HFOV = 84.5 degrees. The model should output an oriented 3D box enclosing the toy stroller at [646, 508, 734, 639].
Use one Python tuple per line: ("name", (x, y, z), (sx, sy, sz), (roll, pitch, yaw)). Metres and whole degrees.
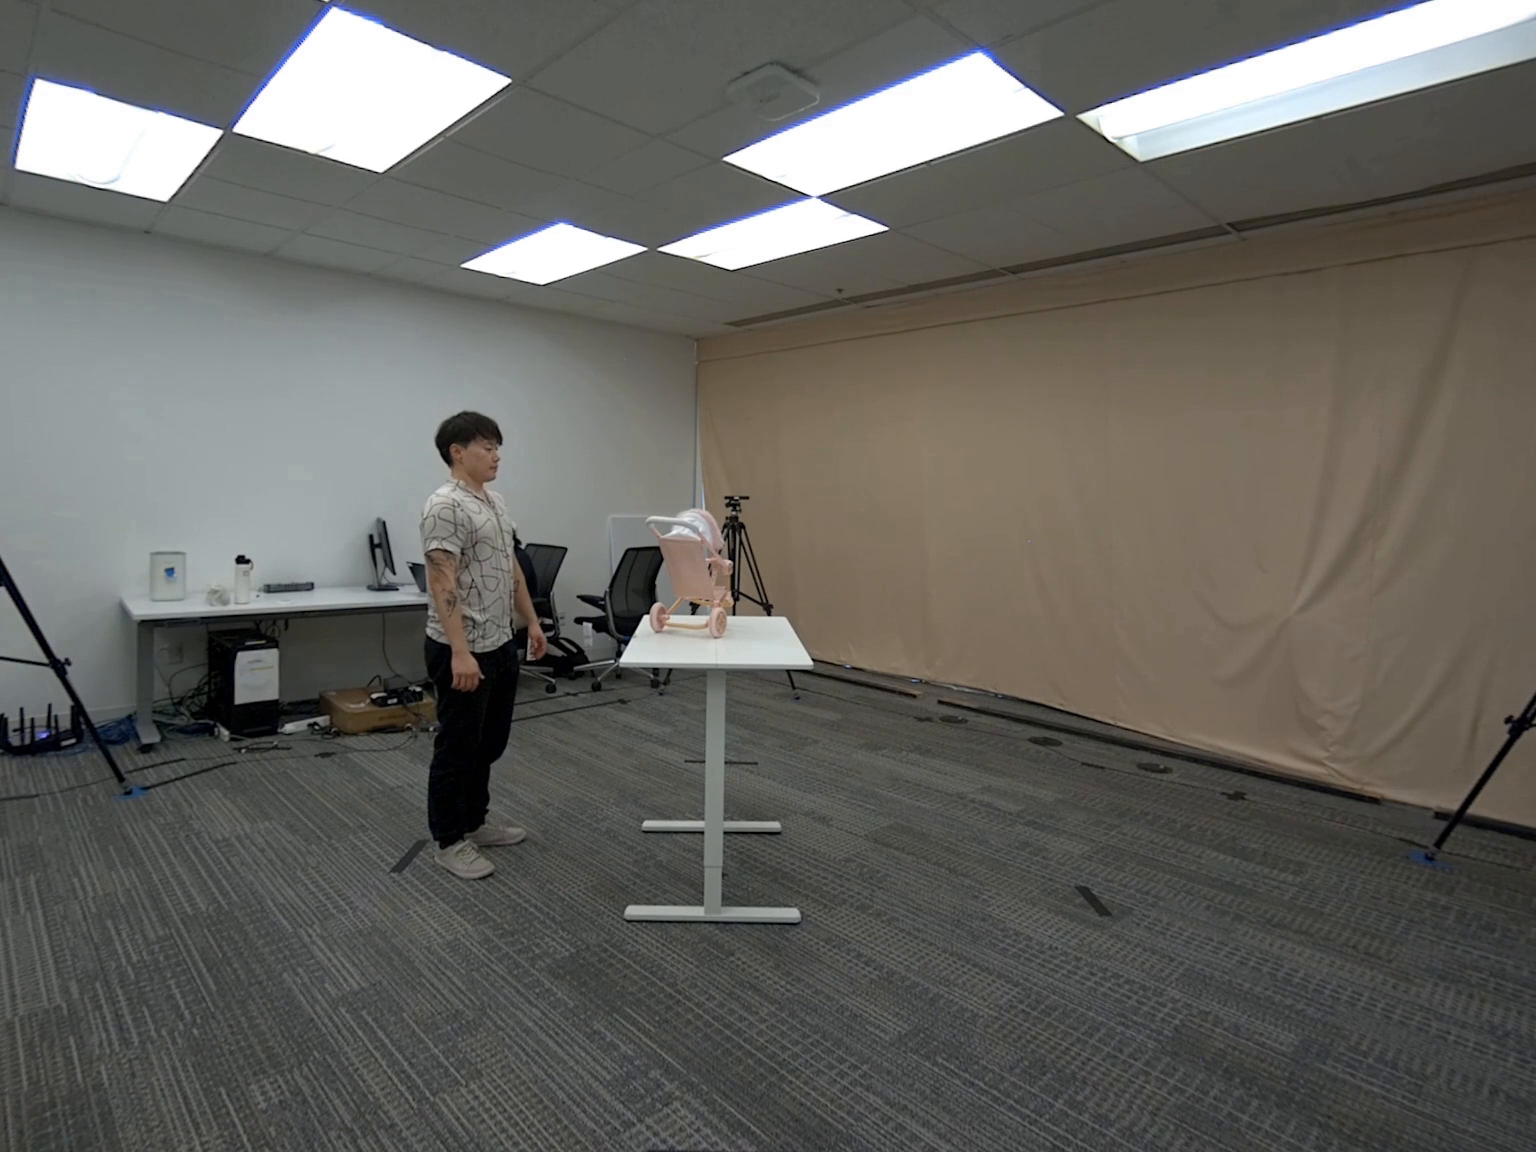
("toy stroller", (-0.274, -0.011, 3.150), (0.287, 0.527, 0.339), (4, 20, 28))
